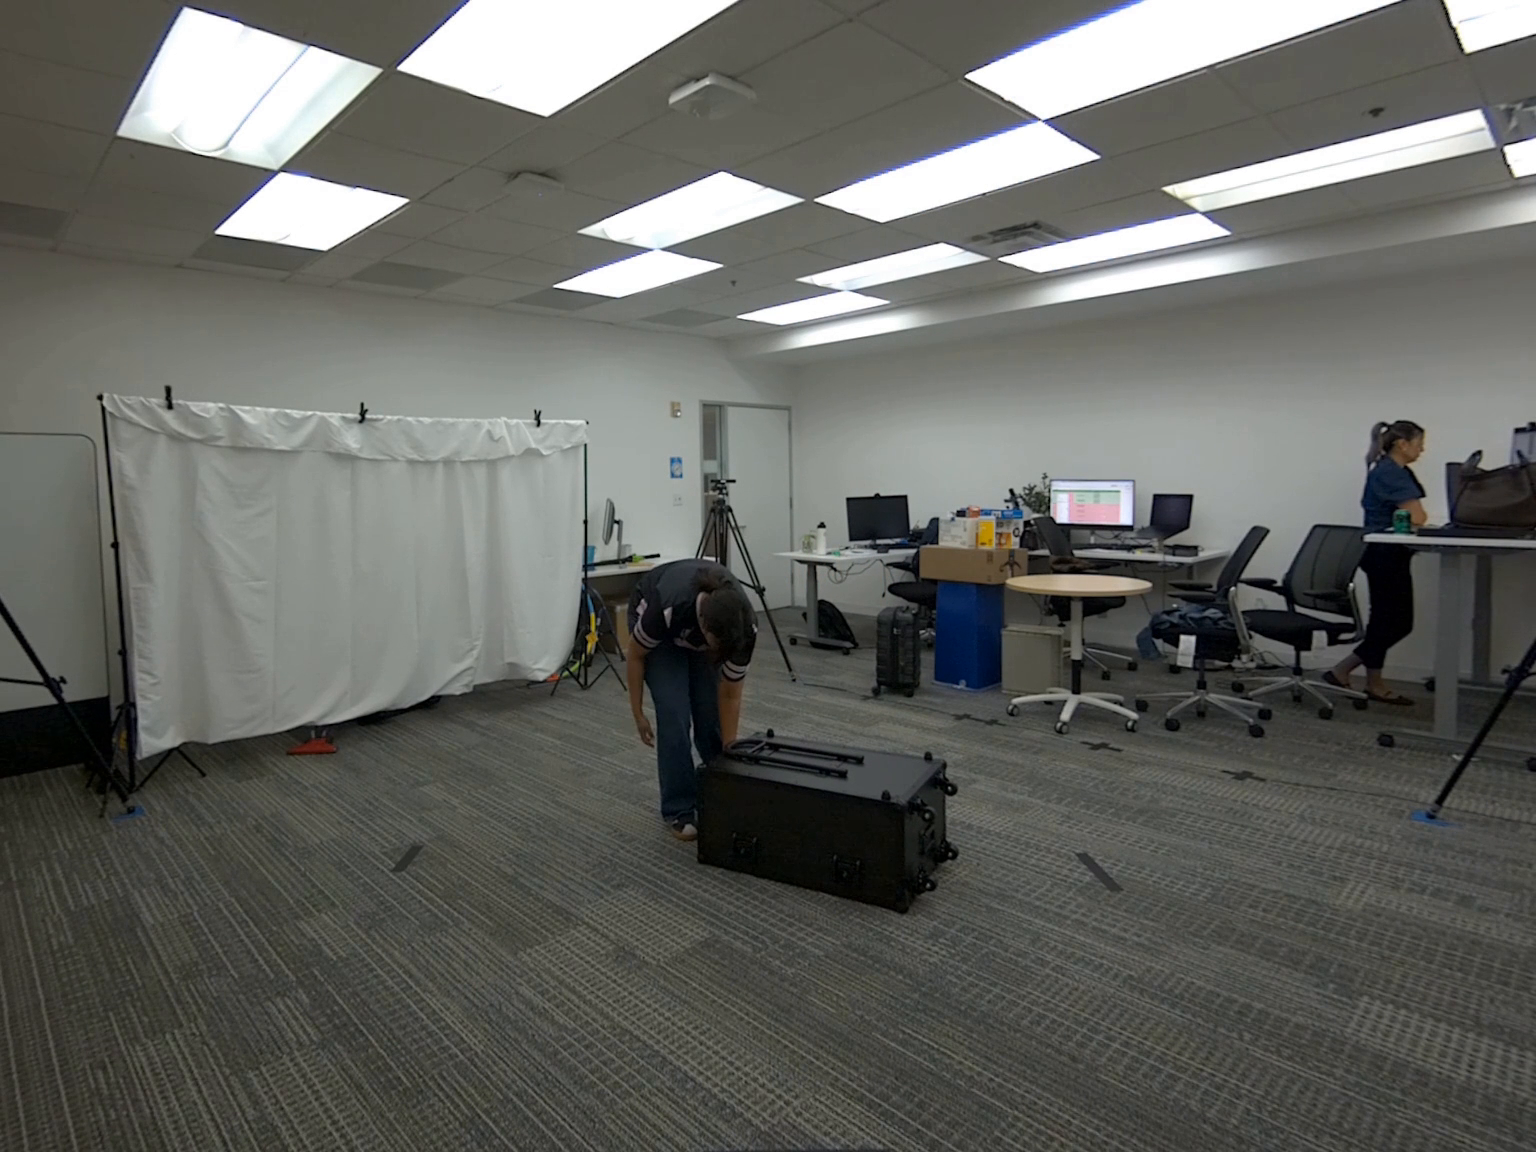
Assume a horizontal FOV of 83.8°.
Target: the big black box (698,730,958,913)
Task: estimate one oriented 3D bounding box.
[{"bbox_3d":[0.235,0.855,3.105,0.891,0.384,0.512,3,5,28],"label":"big black box"}]
